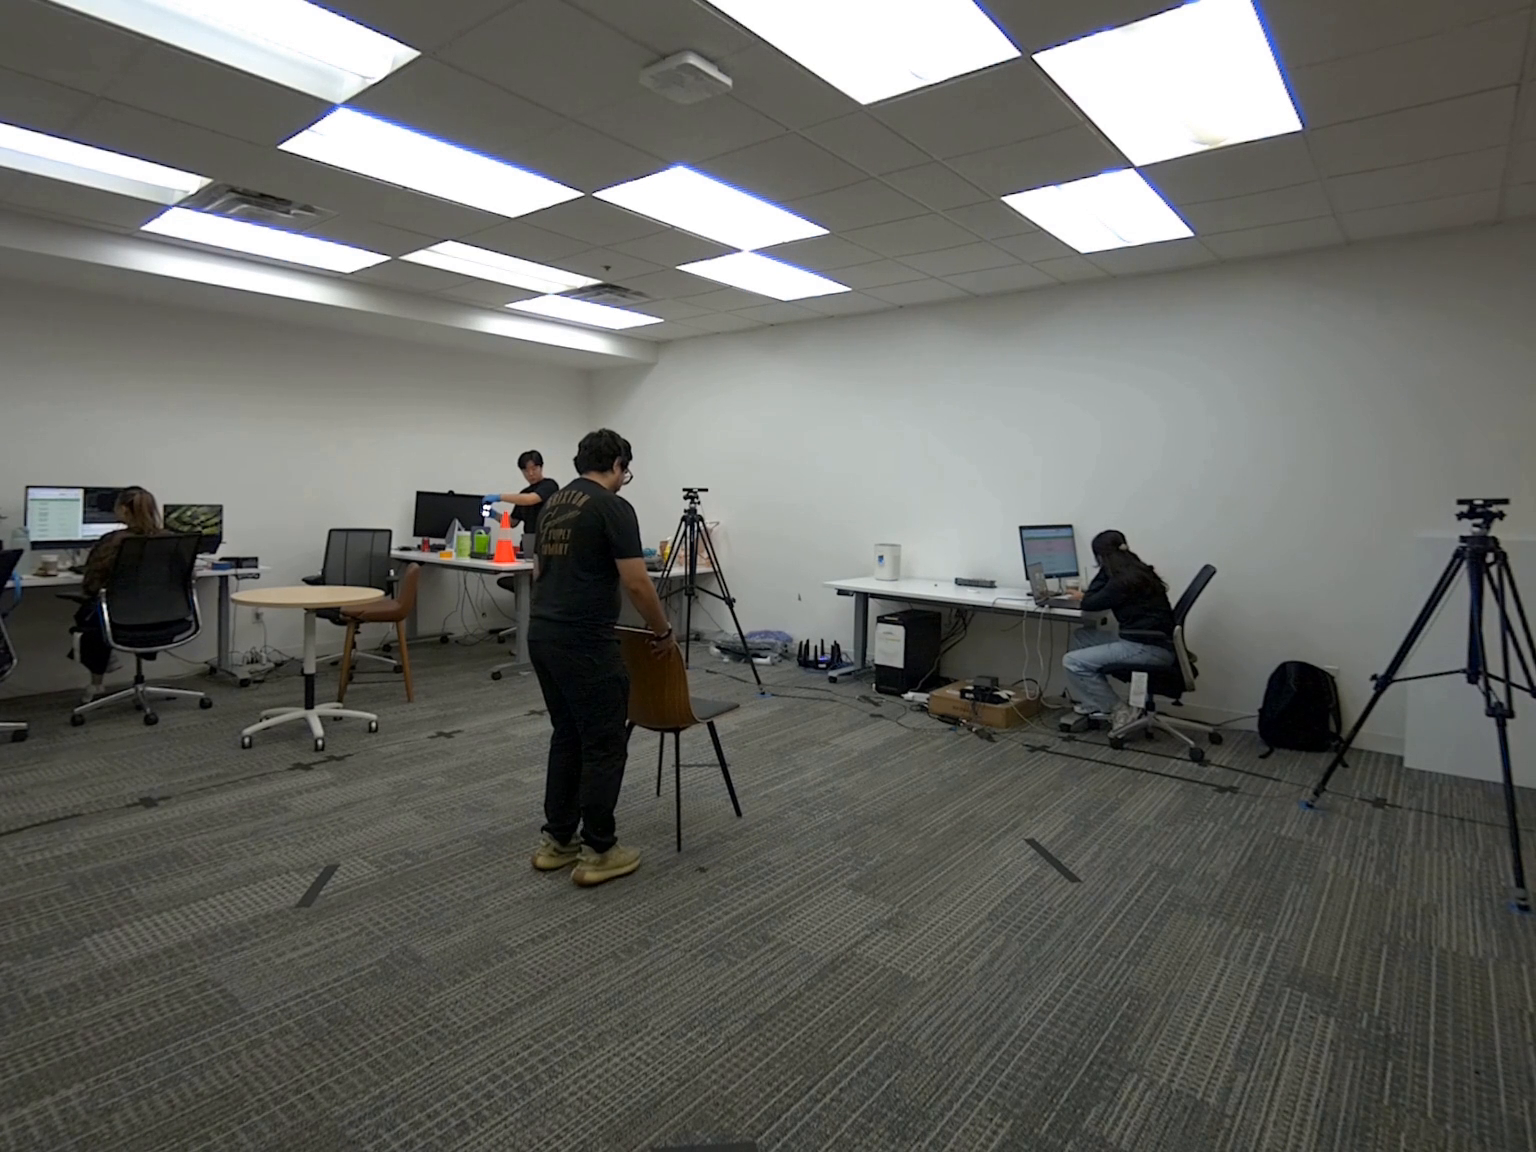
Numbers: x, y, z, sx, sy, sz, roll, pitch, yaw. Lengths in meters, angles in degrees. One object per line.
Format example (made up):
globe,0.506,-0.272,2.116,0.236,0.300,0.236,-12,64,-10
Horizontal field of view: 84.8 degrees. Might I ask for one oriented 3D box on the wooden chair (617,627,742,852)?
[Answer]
wooden chair,-0.417,0.597,3.541,0.492,0.872,0.511,2,8,32
